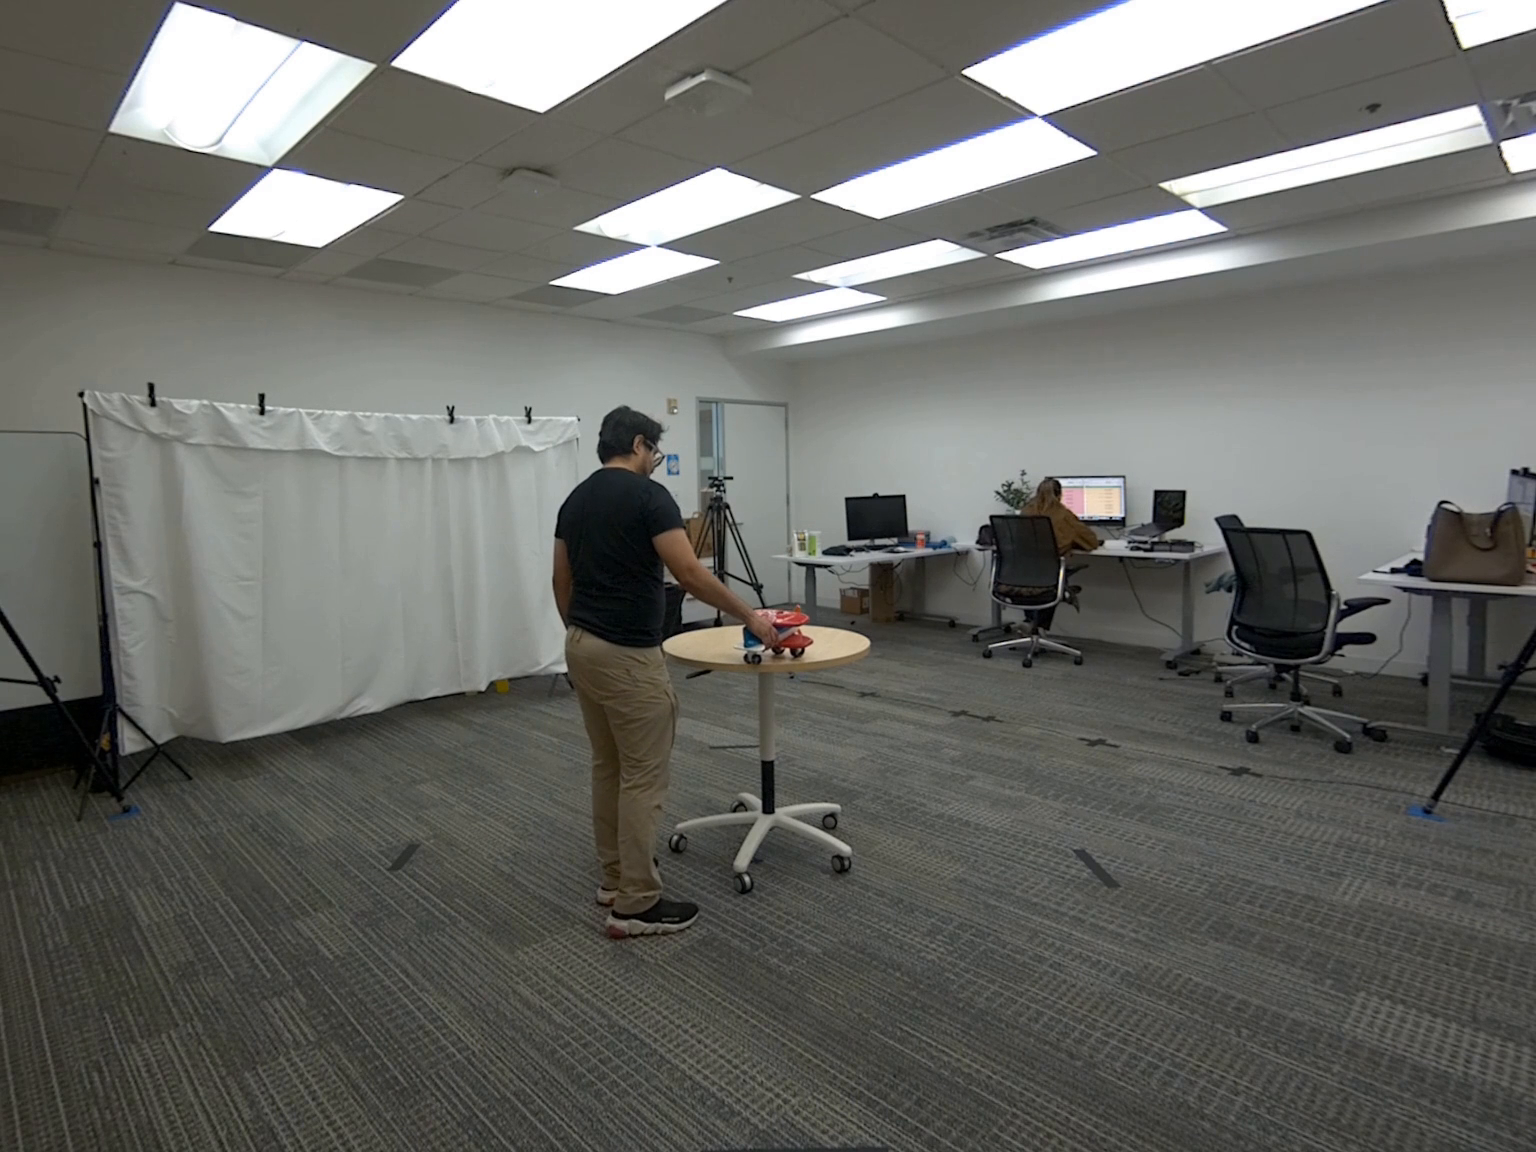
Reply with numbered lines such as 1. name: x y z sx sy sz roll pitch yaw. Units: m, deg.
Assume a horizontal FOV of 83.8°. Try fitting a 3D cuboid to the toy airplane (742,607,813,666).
1. toy airplane: 0.026 0.203 2.839 0.255 0.156 0.256 -1 4 15
